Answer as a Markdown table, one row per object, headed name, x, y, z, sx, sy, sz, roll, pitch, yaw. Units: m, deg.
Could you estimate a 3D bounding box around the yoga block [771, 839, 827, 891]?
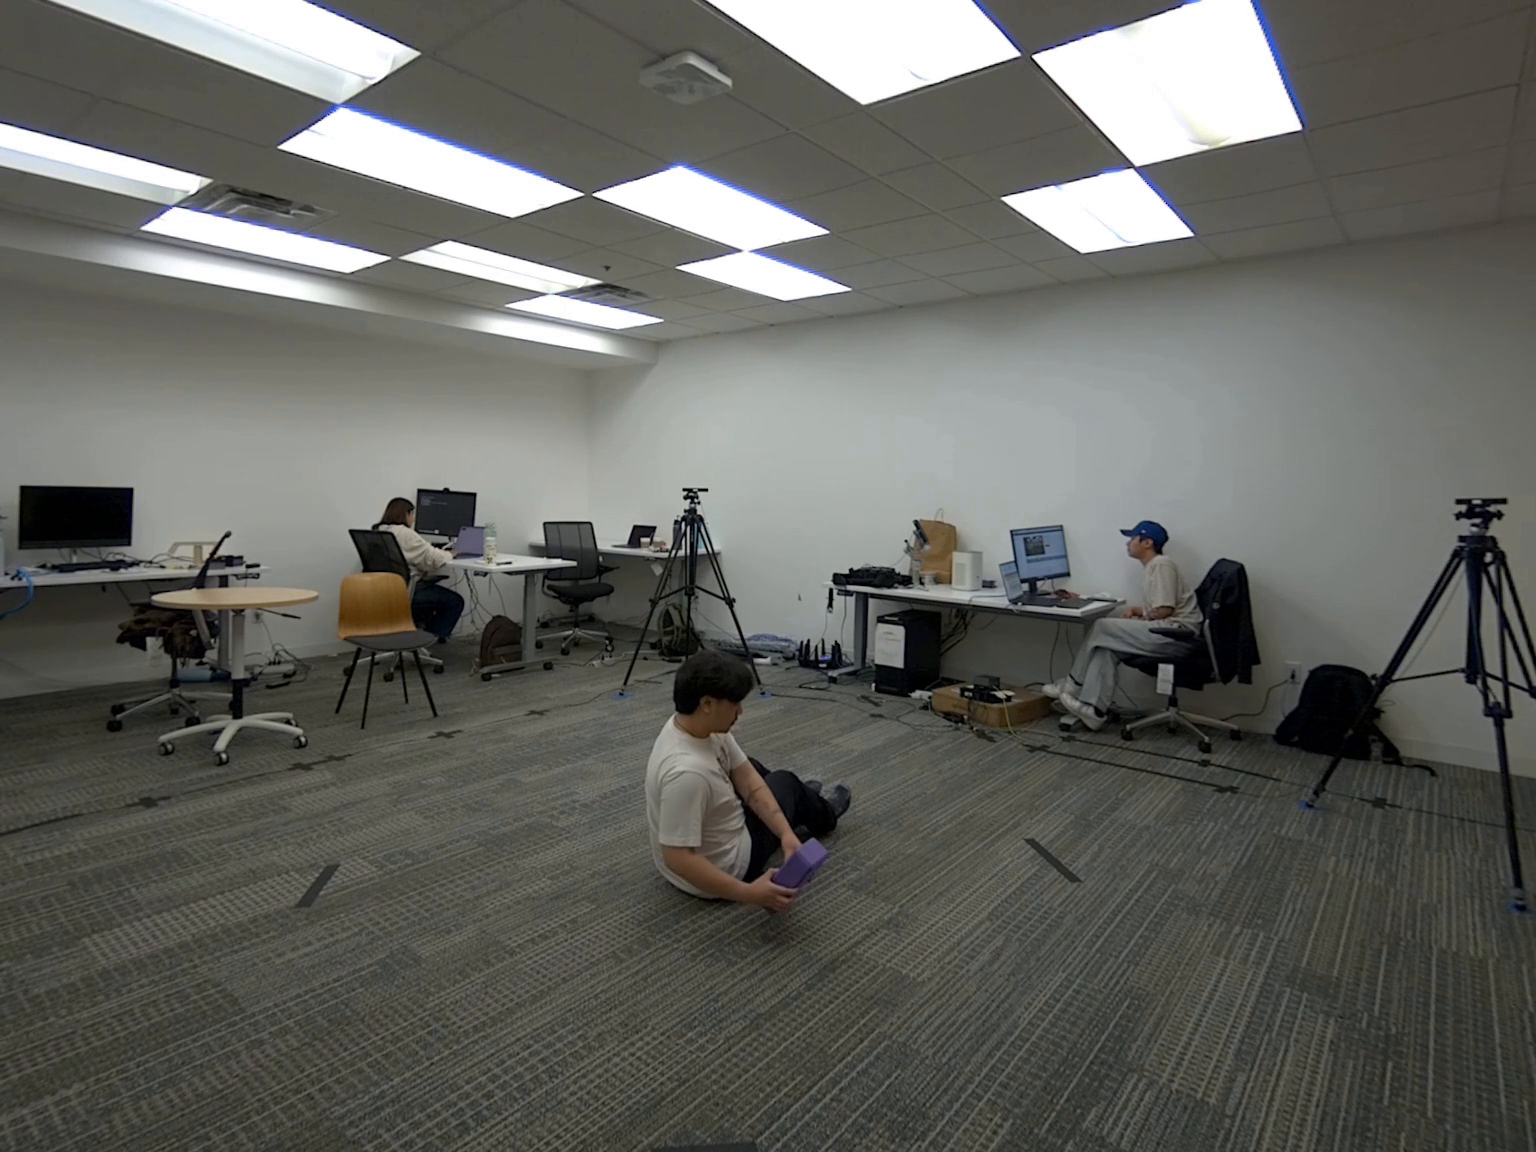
| name | x | y | z | sx | sy | sz | roll | pitch | yaw |
| --- | --- | --- | --- | --- | --- | --- | --- | --- | --- |
| yoga block | 0.083 | 0.941 | 2.690 | 0.079 | 0.228 | 0.145 | 41 | 17 | 20 |
